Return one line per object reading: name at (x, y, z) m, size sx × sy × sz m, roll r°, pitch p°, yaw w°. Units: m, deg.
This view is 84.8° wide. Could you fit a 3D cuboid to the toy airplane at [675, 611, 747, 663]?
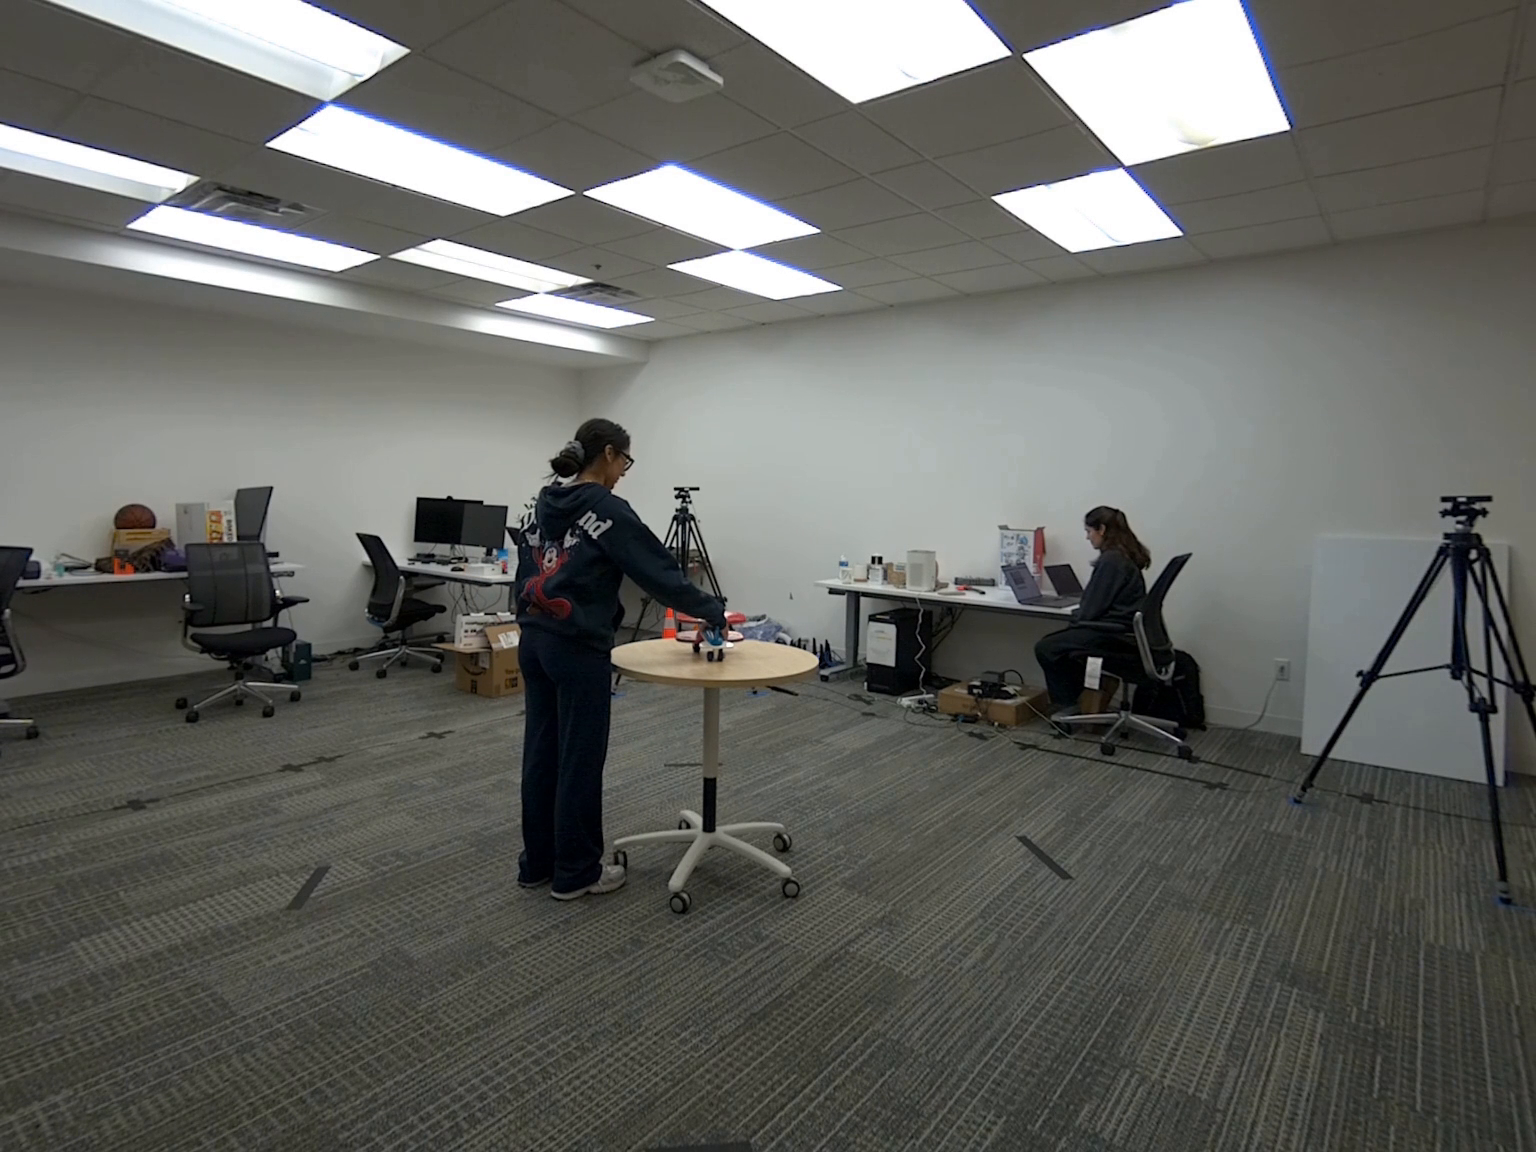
toy airplane at (-0.201, 0.214, 3.079) m, size 0.243 × 0.156 × 0.268 m, roll -2°, pitch 5°, yaw -38°
